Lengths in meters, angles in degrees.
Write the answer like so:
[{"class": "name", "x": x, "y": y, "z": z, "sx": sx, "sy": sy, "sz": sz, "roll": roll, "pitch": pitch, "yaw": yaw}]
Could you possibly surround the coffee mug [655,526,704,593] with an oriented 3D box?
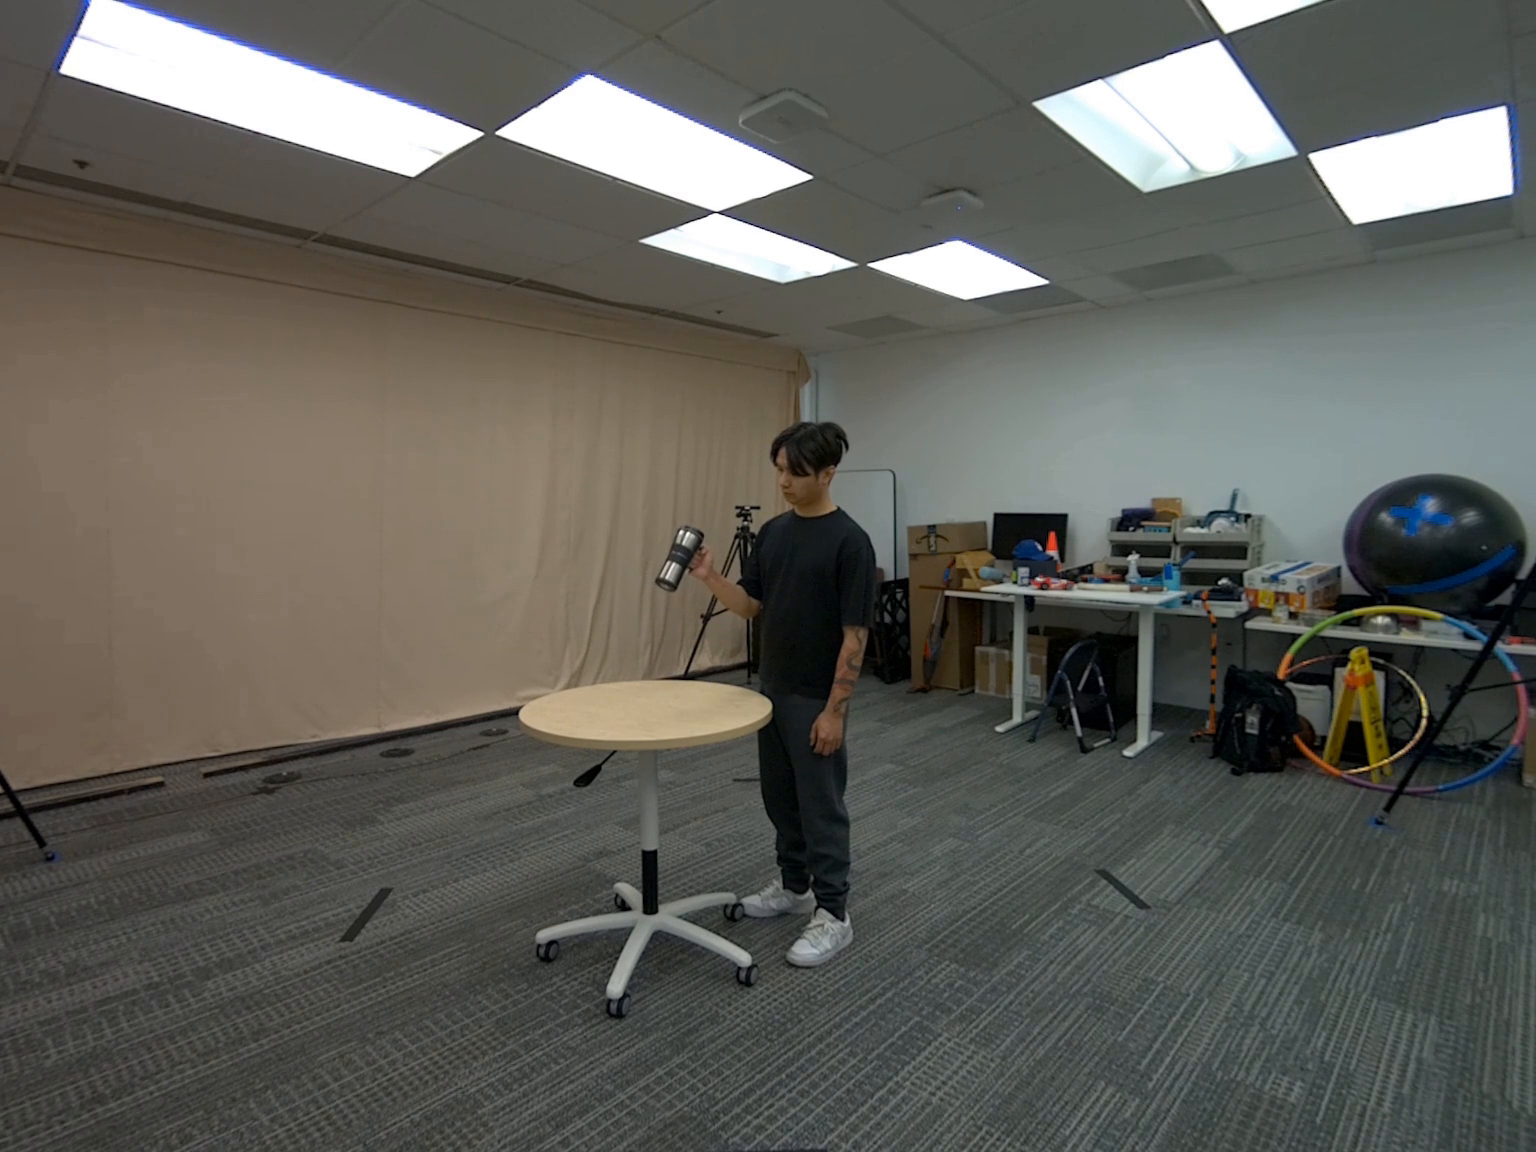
[{"class": "coffee mug", "x": -0.258, "y": -0.037, "z": 2.617, "sx": 0.120, "sy": 0.203, "sz": 0.089, "roll": 27, "pitch": -19, "yaw": -14}]
